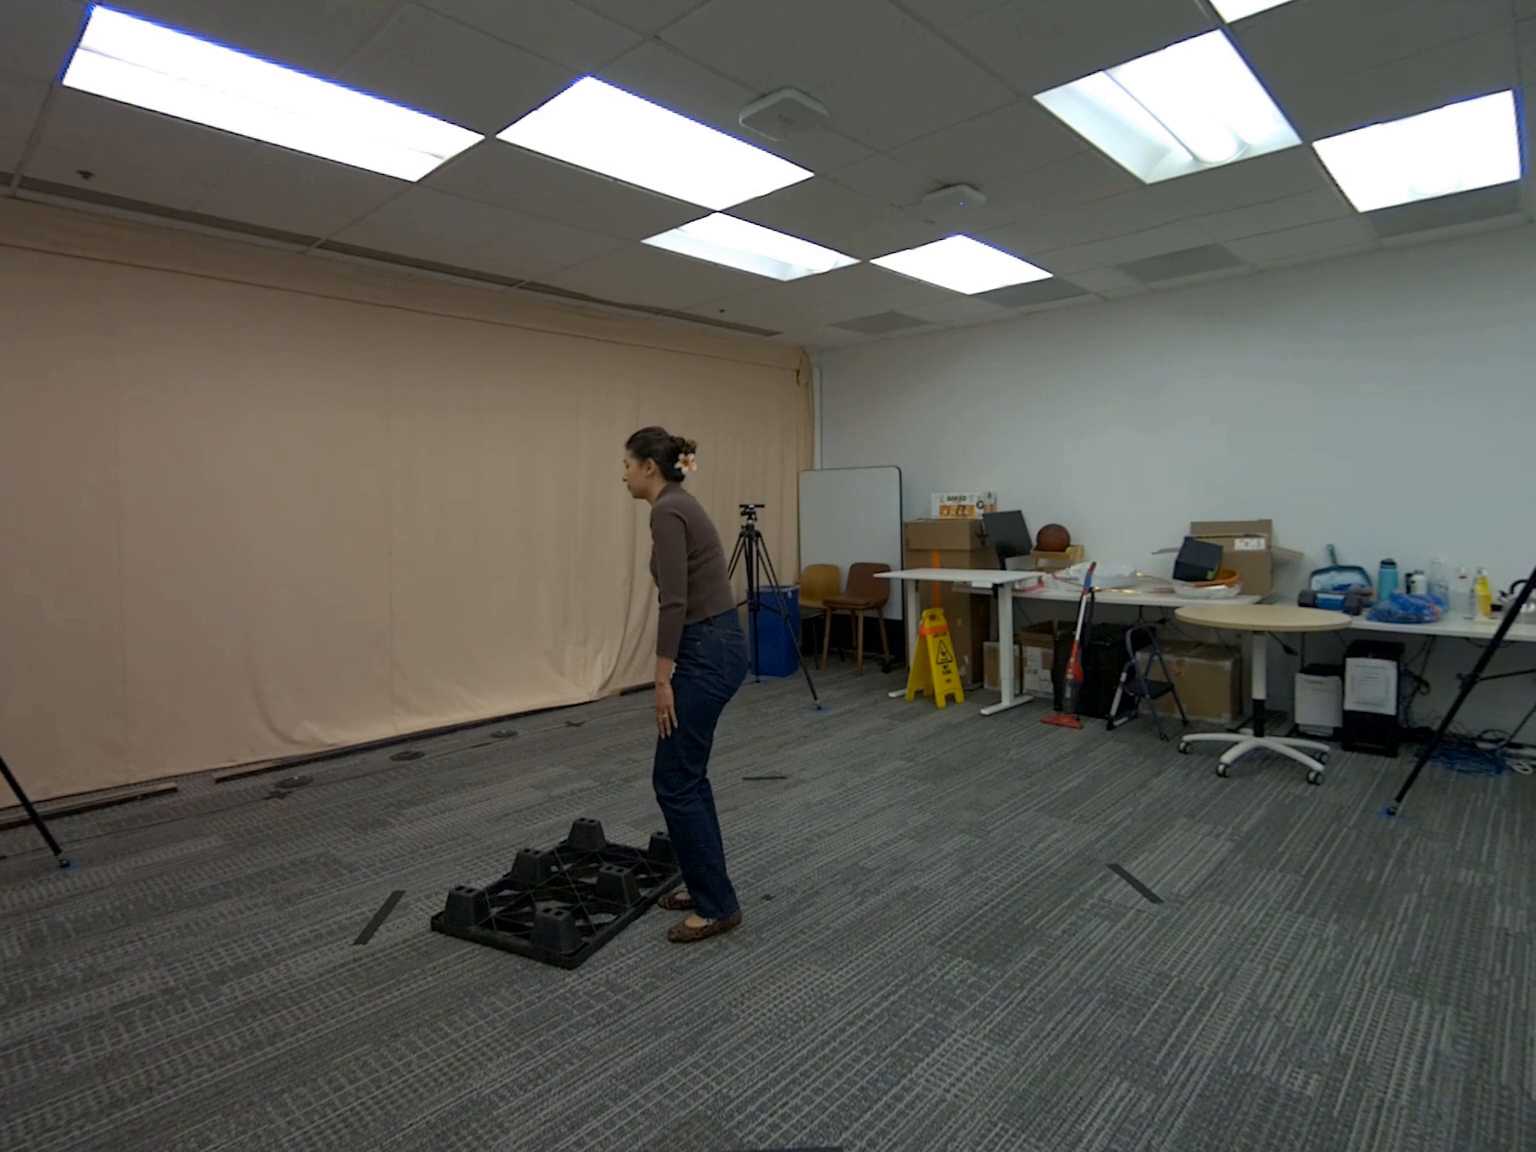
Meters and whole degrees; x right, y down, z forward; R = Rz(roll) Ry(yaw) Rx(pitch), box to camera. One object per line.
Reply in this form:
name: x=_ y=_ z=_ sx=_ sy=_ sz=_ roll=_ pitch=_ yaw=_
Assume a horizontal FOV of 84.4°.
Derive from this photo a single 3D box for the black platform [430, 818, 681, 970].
black platform: x=-0.702 y=1.086 z=3.019 sx=0.621 sy=0.143 sz=0.787 roll=1 pitch=5 yaw=25
